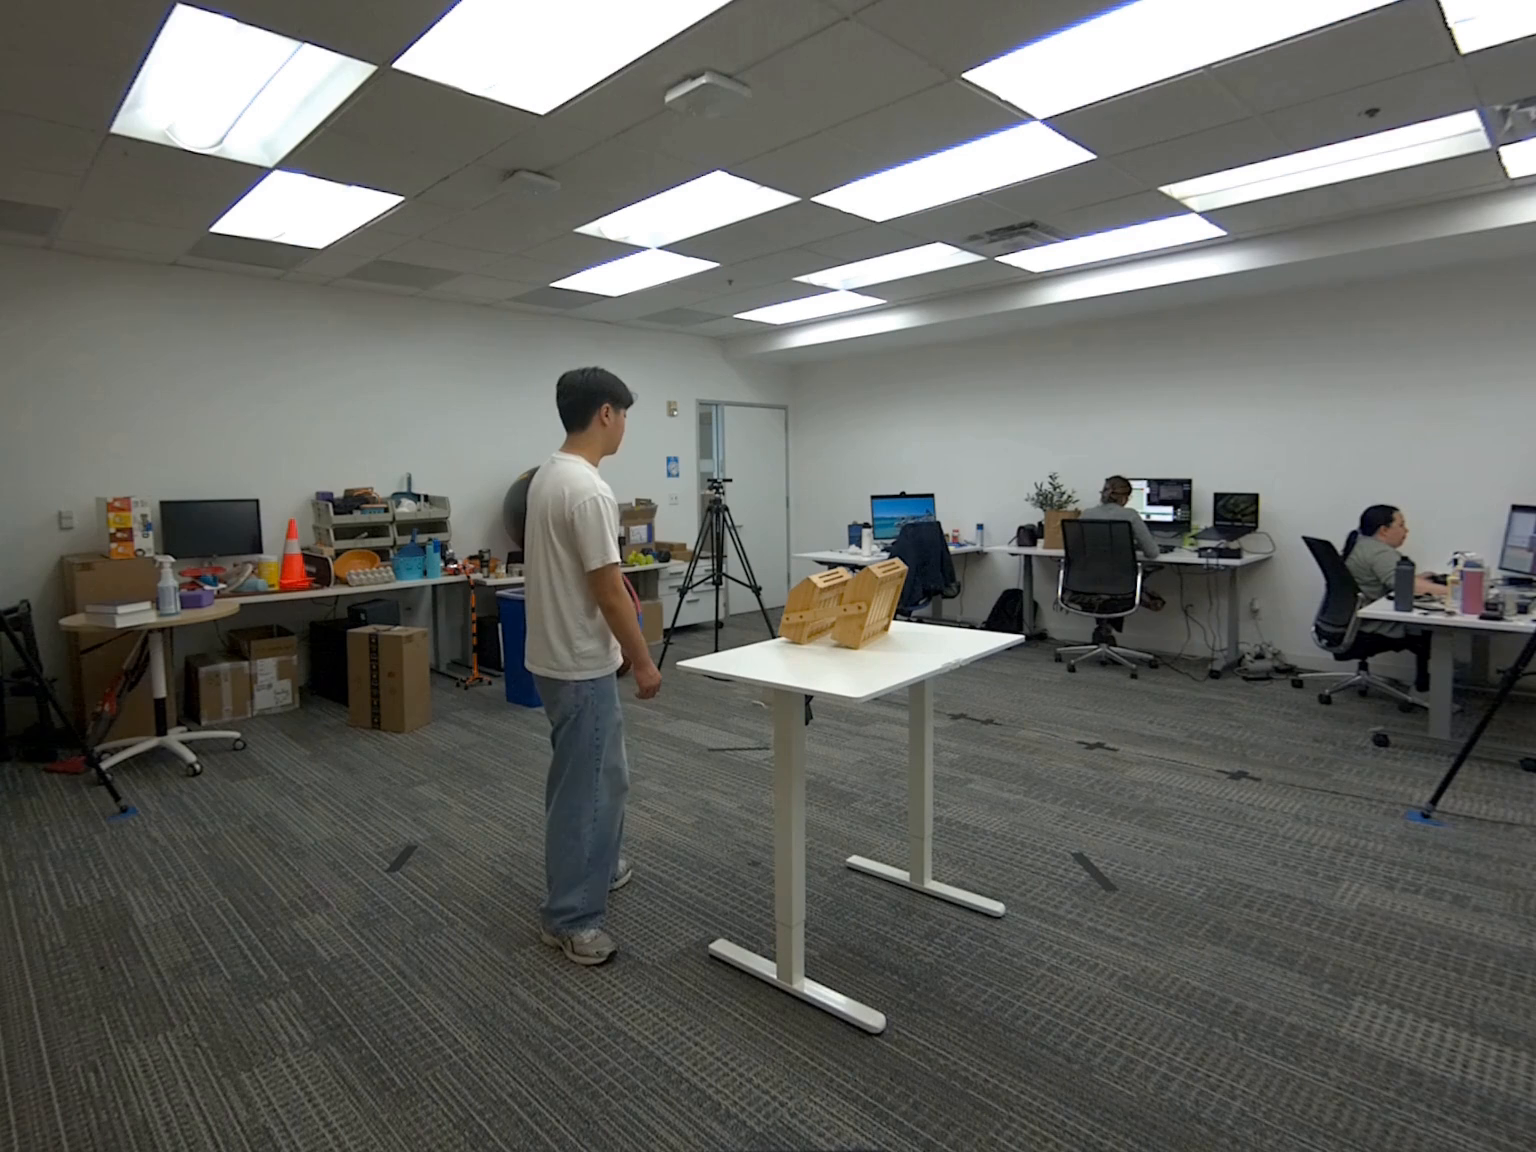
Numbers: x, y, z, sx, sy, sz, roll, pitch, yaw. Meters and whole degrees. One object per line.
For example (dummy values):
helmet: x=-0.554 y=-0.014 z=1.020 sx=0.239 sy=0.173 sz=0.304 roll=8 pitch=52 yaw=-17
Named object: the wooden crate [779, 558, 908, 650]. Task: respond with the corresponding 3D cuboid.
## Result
wooden crate: x=0.241 y=0.068 z=2.714 sx=0.281 sy=0.300 sz=0.318 roll=20 pitch=13 yaw=23
